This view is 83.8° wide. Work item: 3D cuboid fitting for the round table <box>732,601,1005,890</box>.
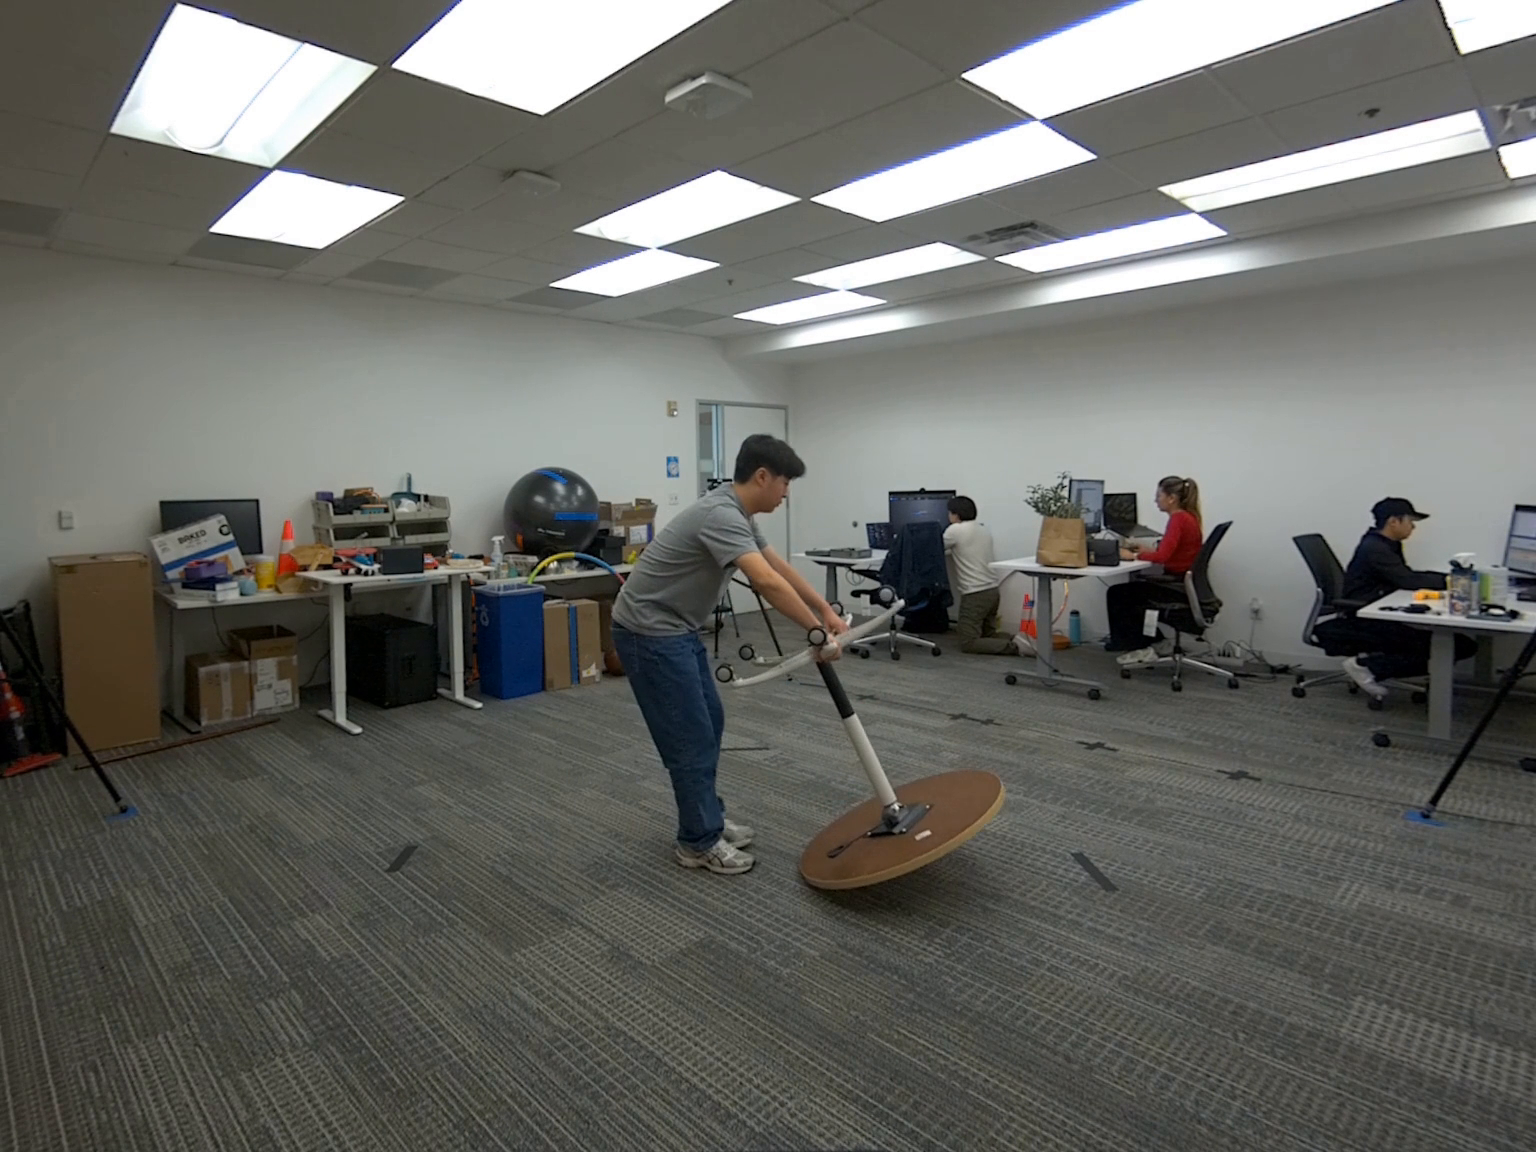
[{"bbox_3d":[0.296,0.533,3.019,0.763,0.797,0.762,-24,-2,-3],"label":"round table"}]
